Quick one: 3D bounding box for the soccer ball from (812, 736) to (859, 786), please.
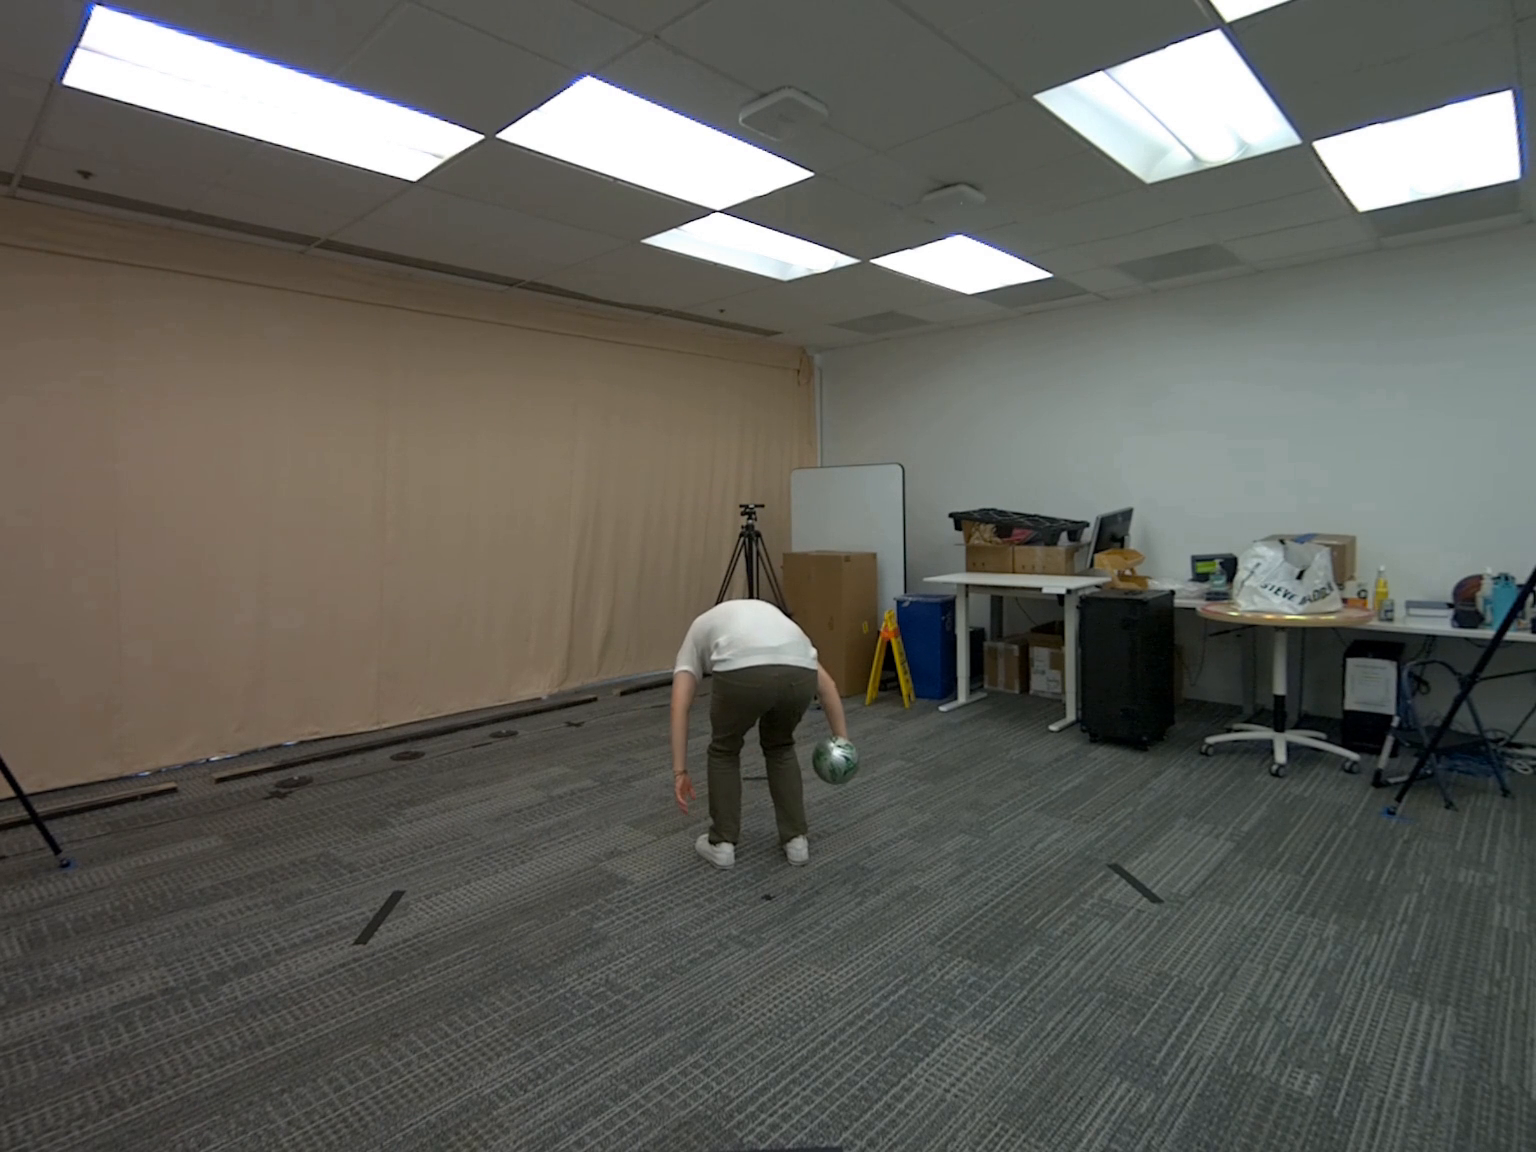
[{"bbox_3d":[0.246,0.721,3.319,0.187,0.187,0.188,-1,4,-2],"label":"soccer ball"}]
